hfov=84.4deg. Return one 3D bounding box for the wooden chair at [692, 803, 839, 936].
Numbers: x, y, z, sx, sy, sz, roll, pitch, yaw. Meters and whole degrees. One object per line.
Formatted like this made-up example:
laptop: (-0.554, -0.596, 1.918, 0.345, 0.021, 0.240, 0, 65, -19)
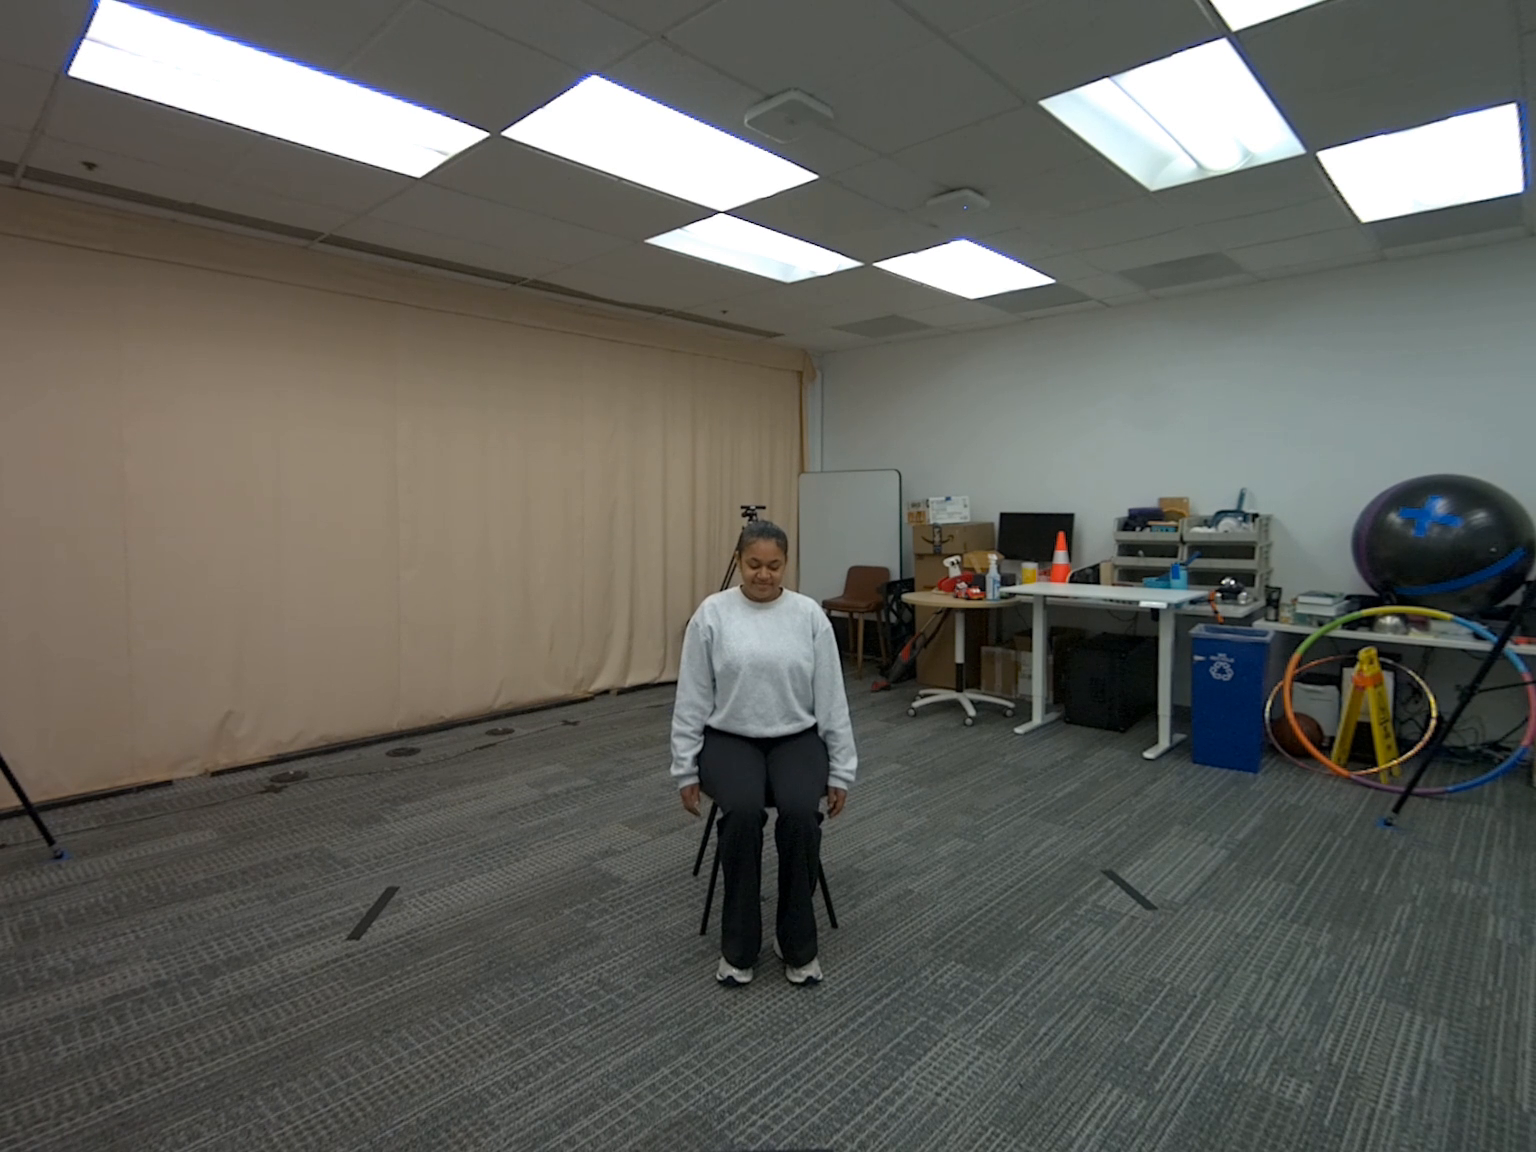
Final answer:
wooden chair: (-0.026, 0.723, 2.937, 0.474, 0.877, 0.527, 0, 0, -8)
